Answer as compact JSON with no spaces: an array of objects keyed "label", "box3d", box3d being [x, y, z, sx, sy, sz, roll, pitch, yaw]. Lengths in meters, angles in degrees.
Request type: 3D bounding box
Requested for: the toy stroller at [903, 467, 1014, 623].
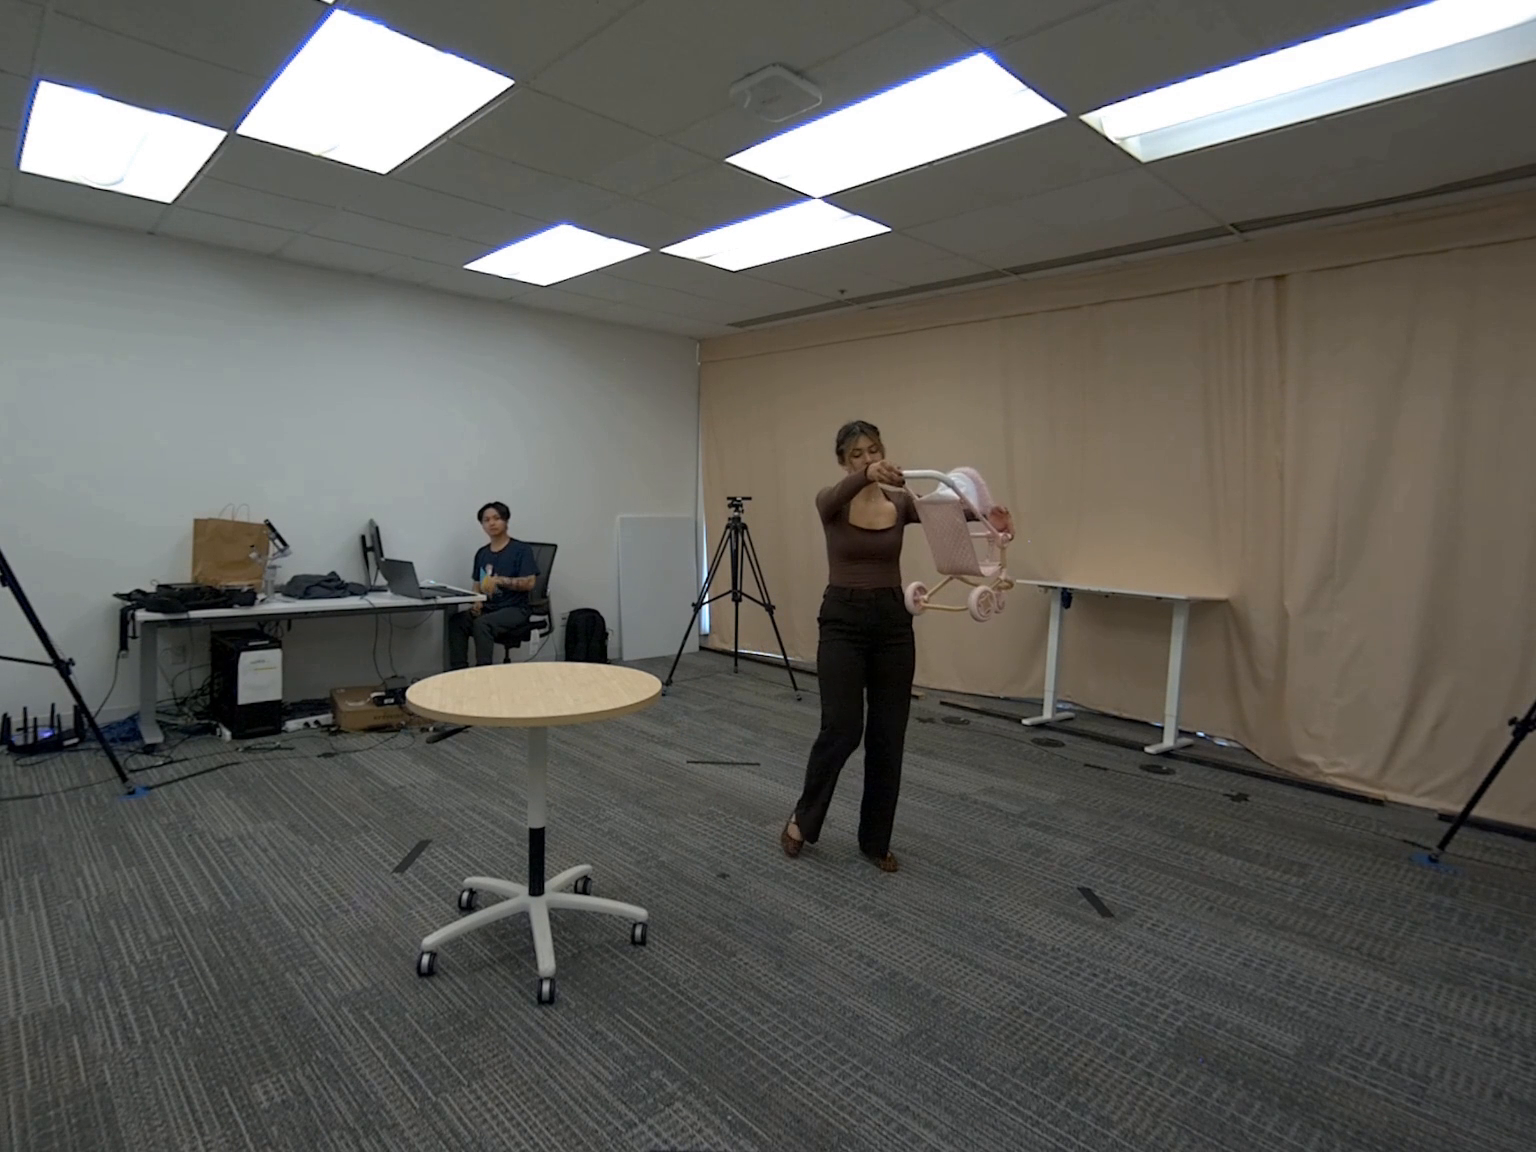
[{"label":"toy stroller","box3d":[0.602,-0.097,2.653,0.336,0.531,0.288,-16,11,-32]}]
